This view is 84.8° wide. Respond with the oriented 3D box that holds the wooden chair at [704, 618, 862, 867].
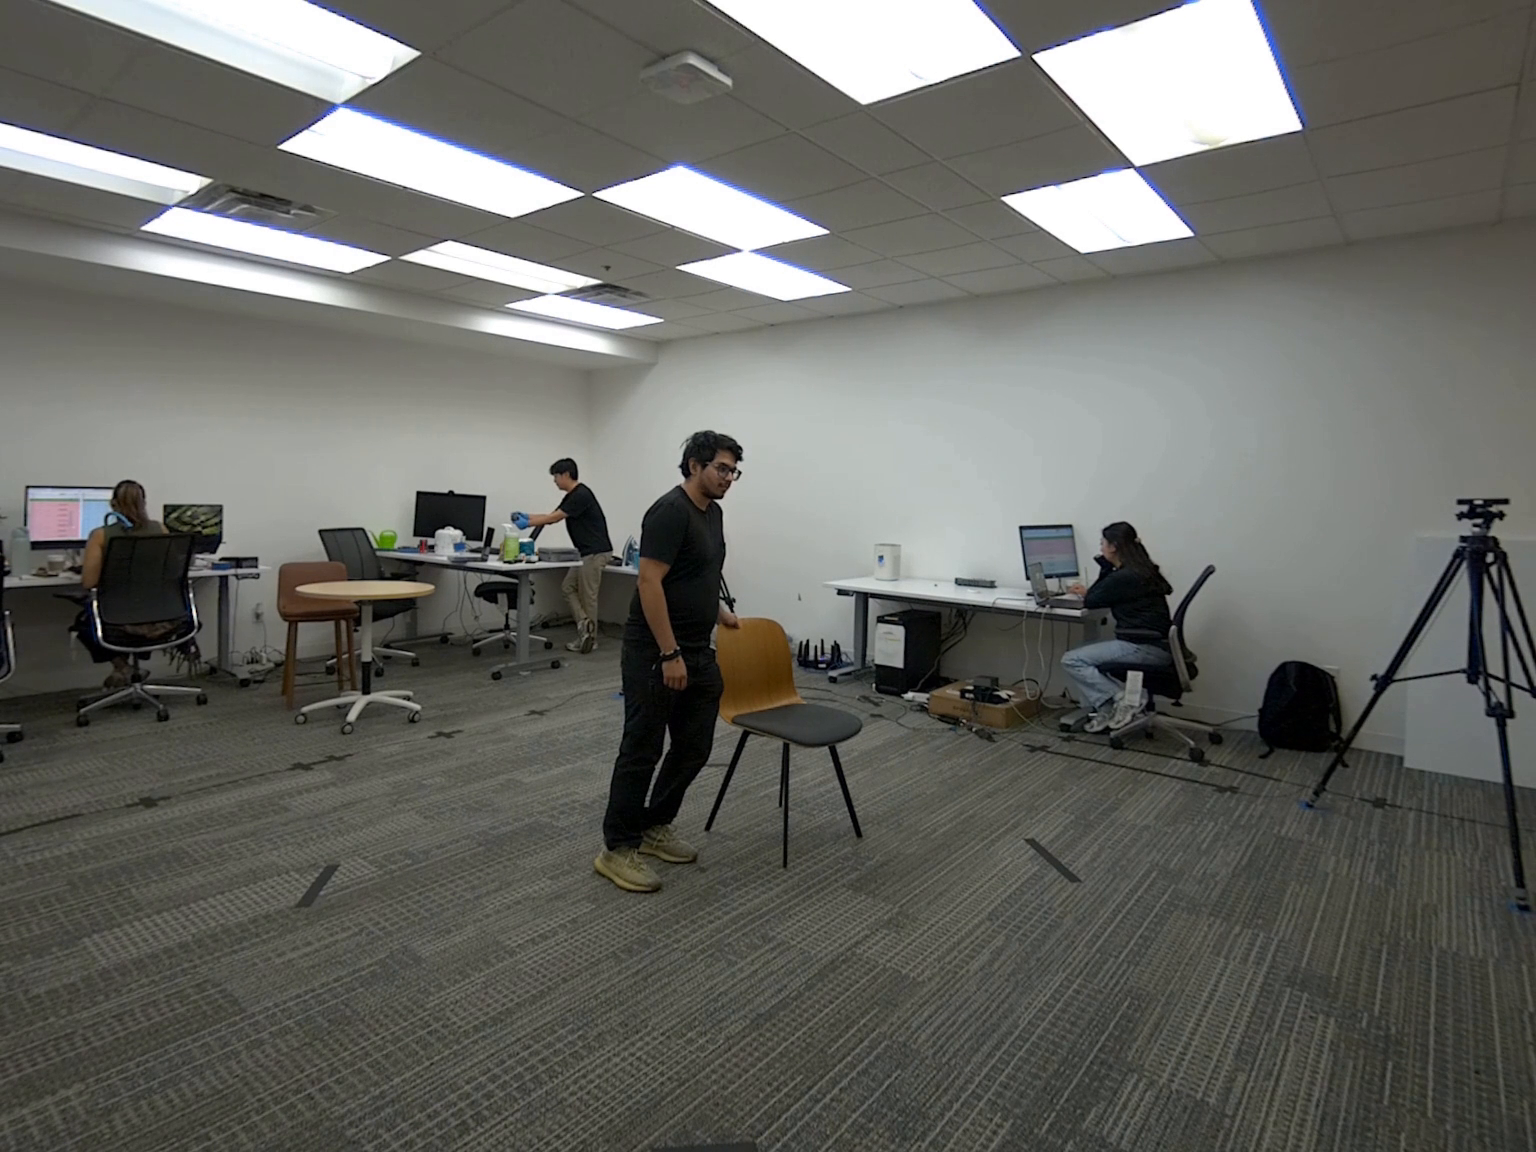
[{"bbox_3d":[0.072,0.620,3.416,0.463,0.878,0.539,-2,0,-44],"label":"wooden chair"}]
